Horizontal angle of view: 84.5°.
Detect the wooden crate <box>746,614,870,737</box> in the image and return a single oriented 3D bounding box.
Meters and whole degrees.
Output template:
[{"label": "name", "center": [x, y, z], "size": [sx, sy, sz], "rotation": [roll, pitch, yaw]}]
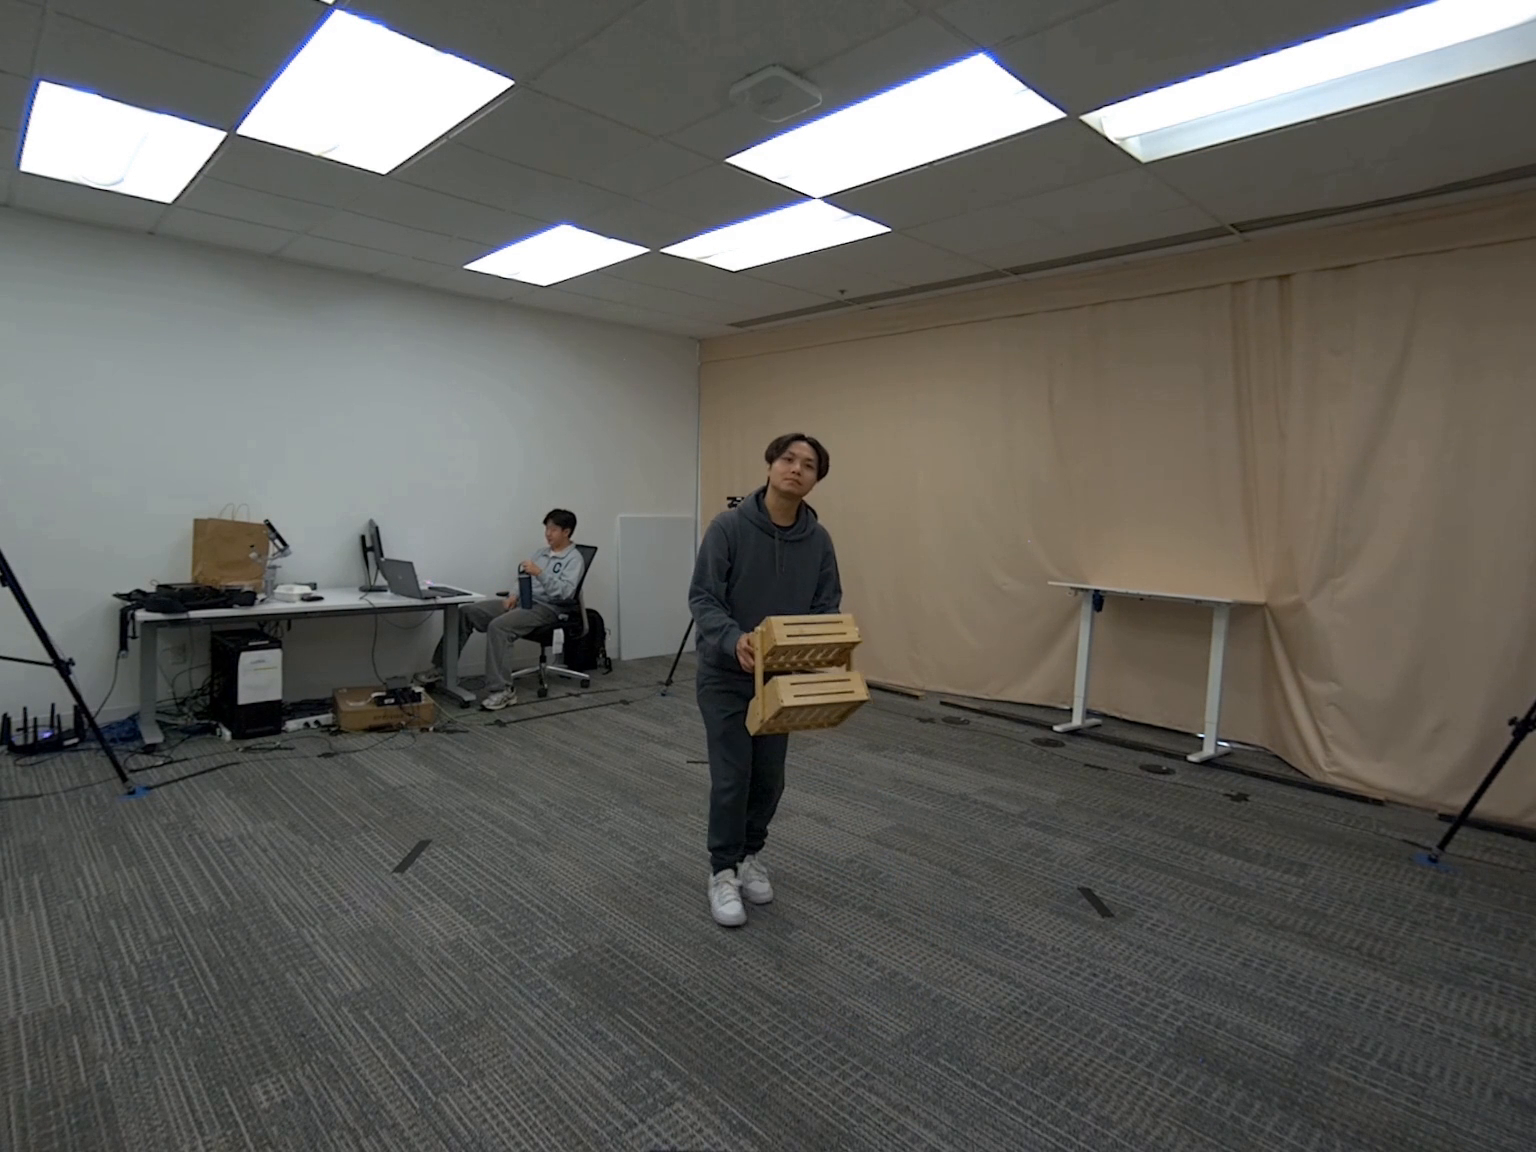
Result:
[{"label": "wooden crate", "center": [0.094, 0.303, 2.572], "size": [0.318, 0.279, 0.301], "rotation": [-1, -30, -26]}]
